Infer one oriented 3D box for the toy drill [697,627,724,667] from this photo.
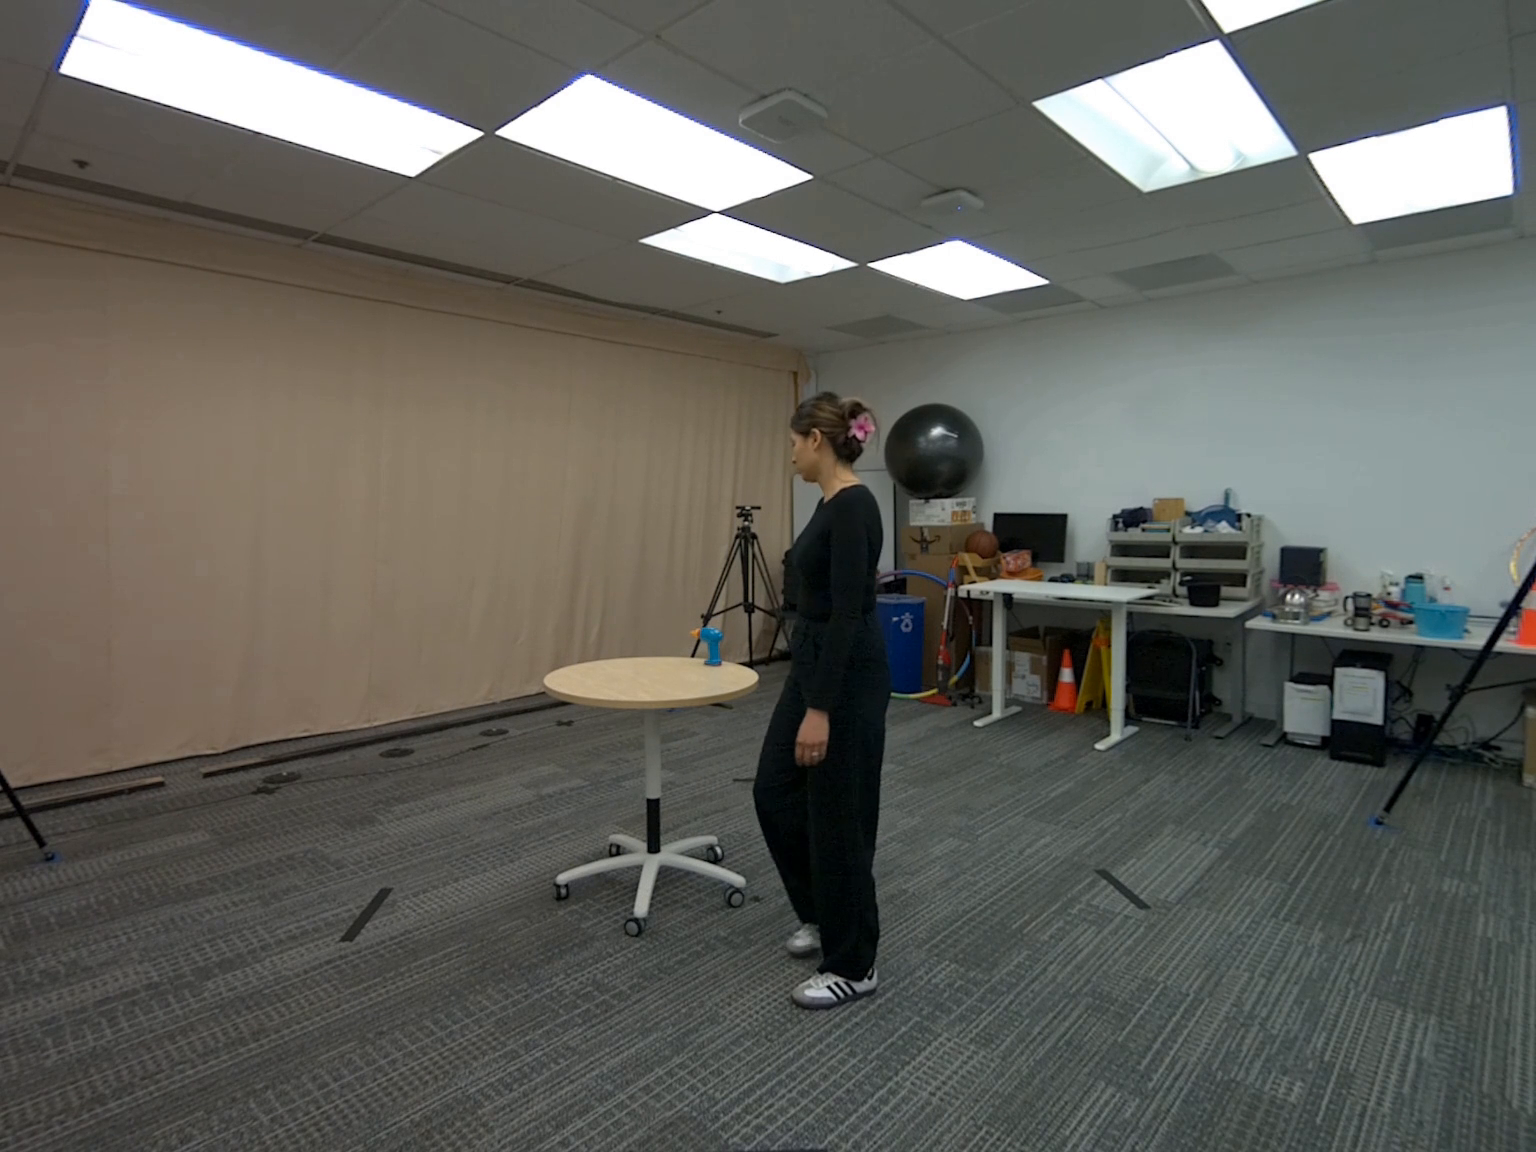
[{"bbox_3d":[-0.236,0.267,3.258,0.175,0.145,0.059,4,5,38],"label":"toy drill"}]
